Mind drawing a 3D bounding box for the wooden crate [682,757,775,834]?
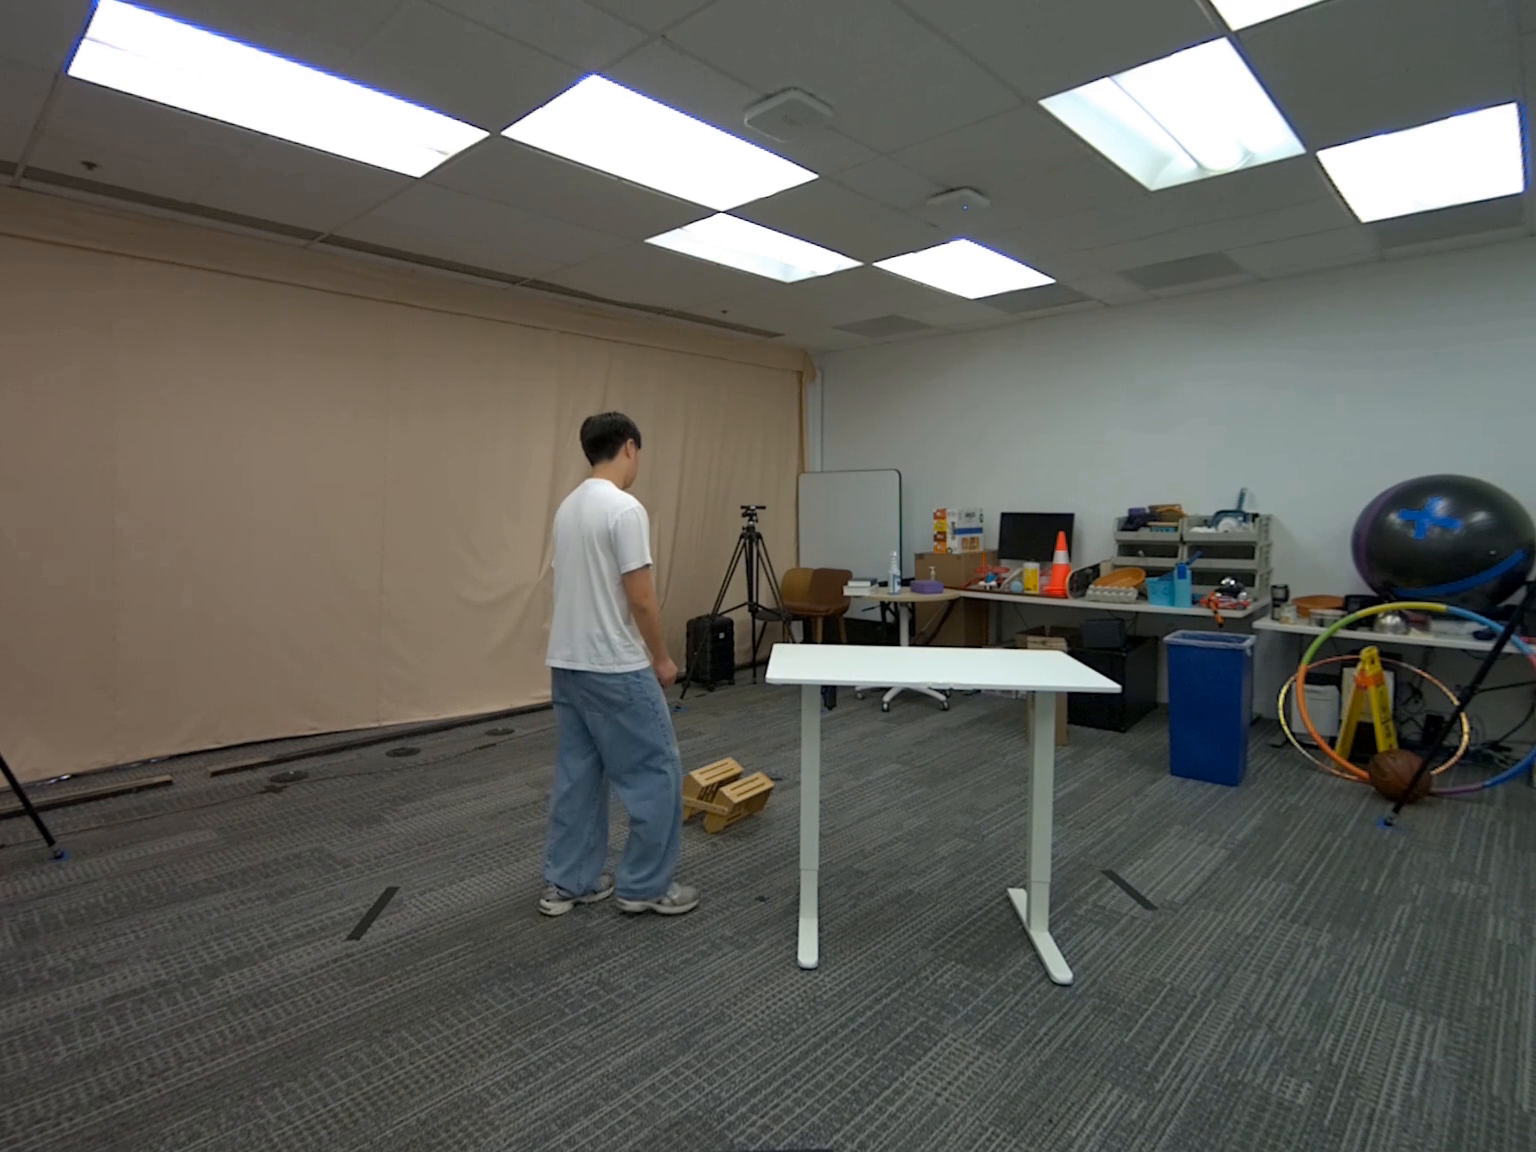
[{"bbox_3d":[-0.199,0.995,3.717,0.282,0.301,0.315,35,23,30],"label":"wooden crate"}]
